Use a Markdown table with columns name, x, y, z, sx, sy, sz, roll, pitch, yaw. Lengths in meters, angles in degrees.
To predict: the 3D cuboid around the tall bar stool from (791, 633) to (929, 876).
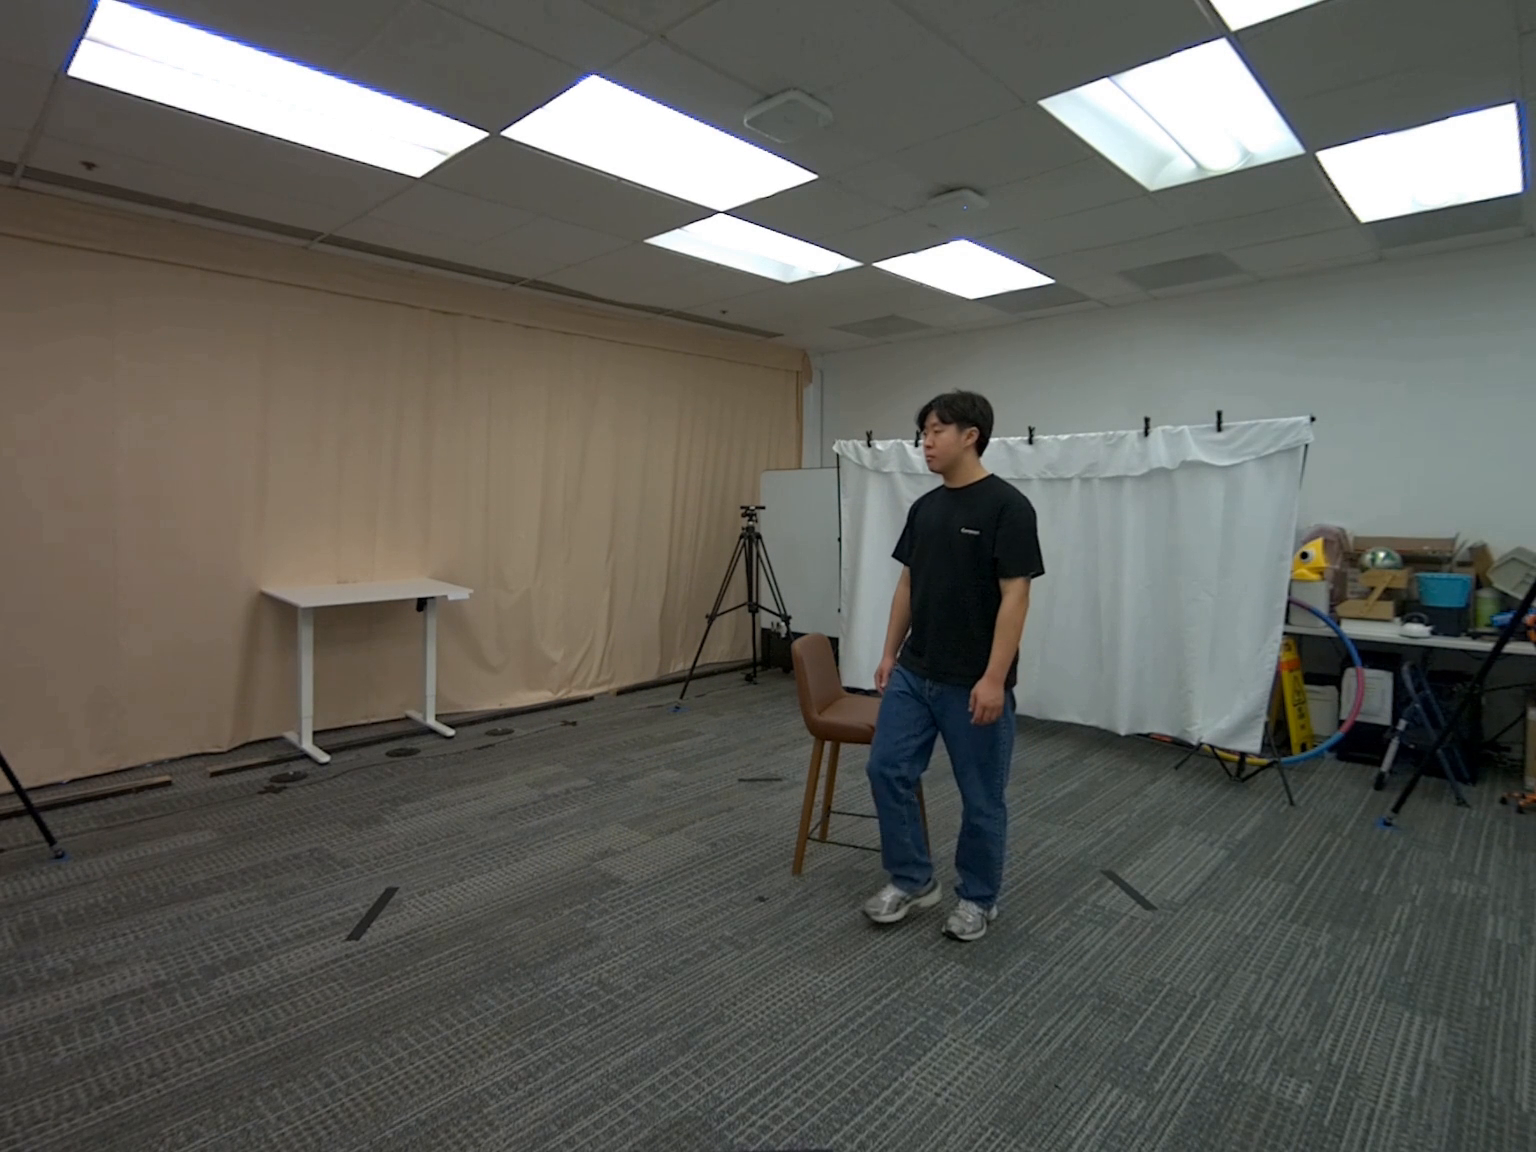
| name | x | y | z | sx | sy | sz | roll | pitch | yaw |
| --- | --- | --- | --- | --- | --- | --- | --- | --- | --- |
| tall bar stool | 0.360 | 0.685 | 3.235 | 0.479 | 0.888 | 0.446 | -1 | 3 | 23 |
